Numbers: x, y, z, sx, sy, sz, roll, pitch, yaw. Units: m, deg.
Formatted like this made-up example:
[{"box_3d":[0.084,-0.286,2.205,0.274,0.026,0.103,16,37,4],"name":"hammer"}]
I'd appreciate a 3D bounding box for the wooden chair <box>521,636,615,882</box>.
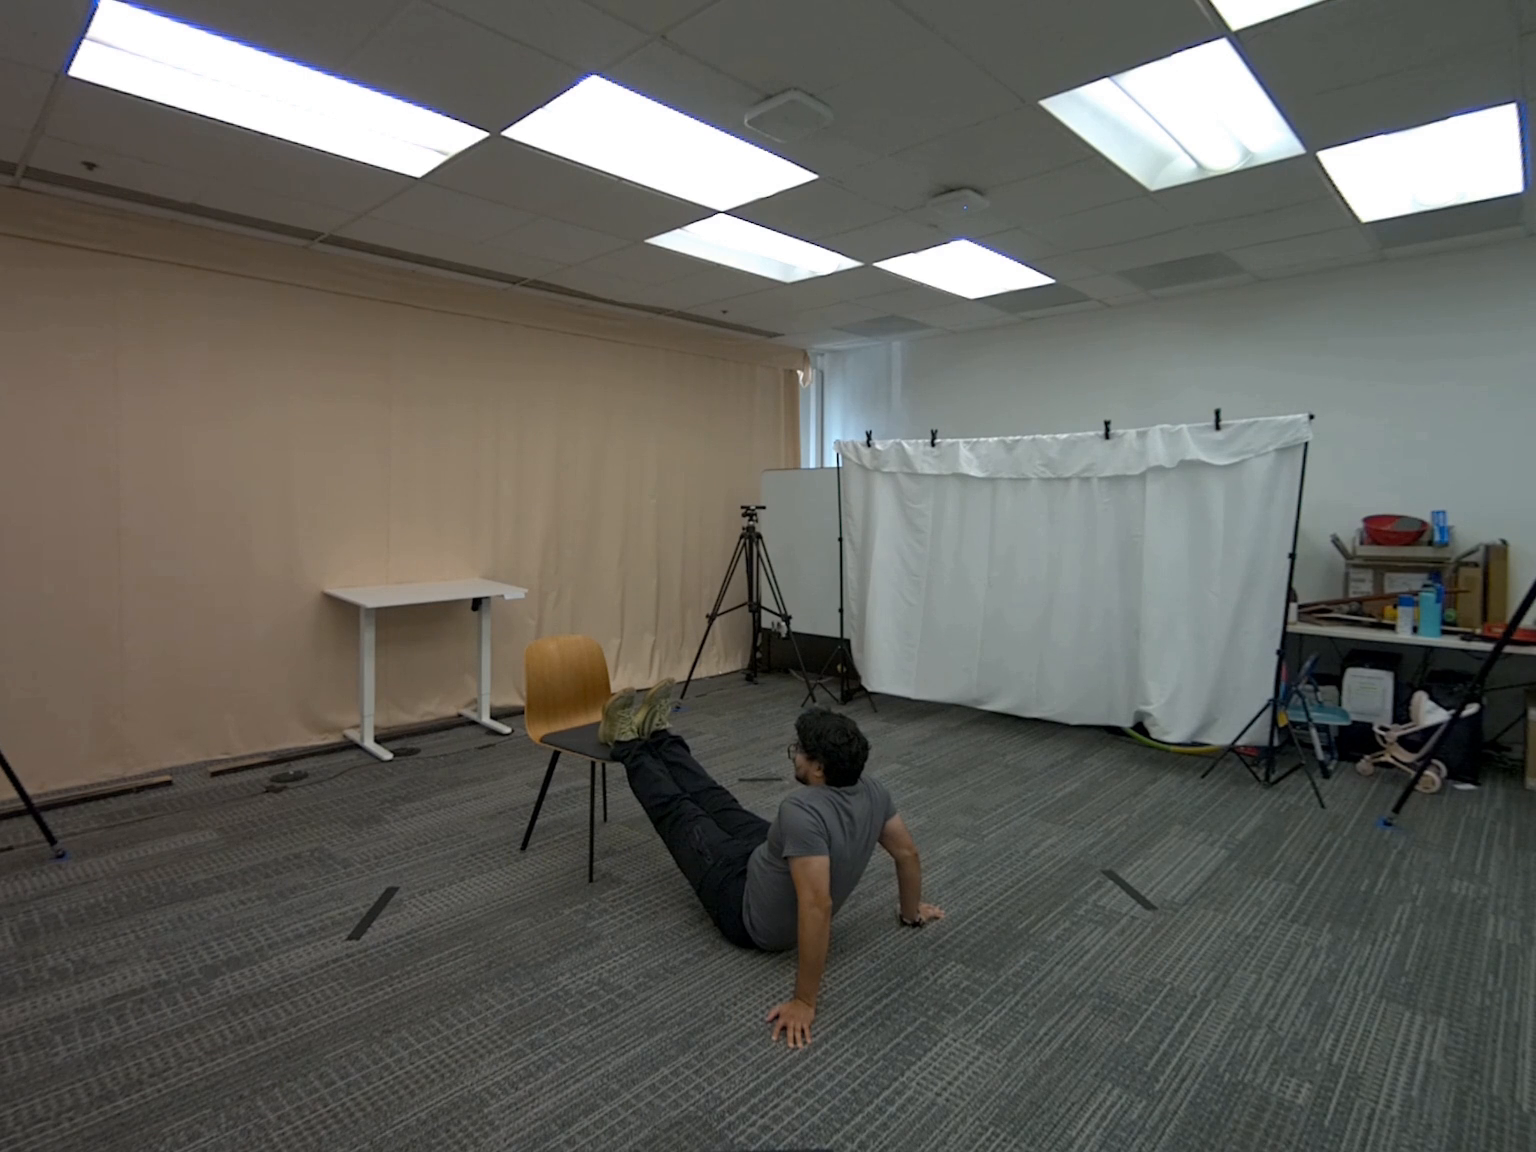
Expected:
[{"box_3d":[-0.689,0.690,3.402,0.539,0.877,0.463,-3,1,42],"name":"wooden chair"}]
